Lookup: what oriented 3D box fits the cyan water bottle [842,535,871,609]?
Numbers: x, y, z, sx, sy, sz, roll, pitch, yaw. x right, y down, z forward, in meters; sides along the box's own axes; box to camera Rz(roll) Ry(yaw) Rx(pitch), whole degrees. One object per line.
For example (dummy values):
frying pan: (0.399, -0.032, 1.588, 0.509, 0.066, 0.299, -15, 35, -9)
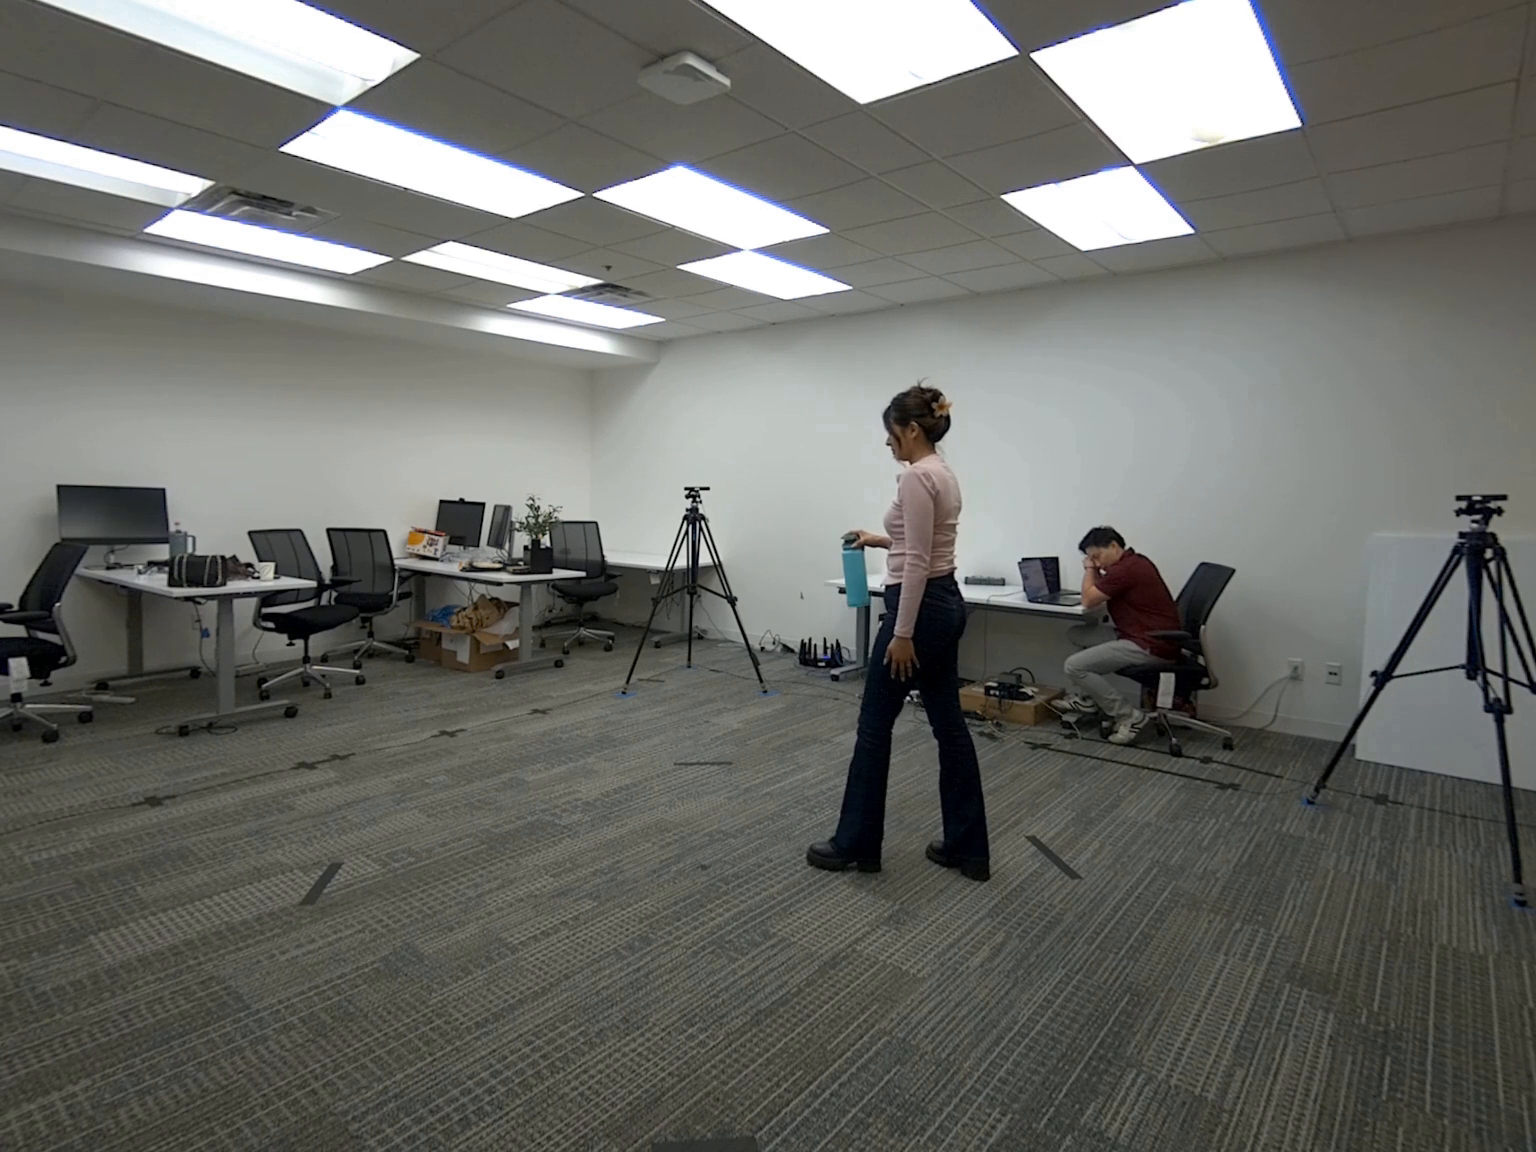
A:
cyan water bottle: (0.344, -0.026, 3.410, 0.092, 0.283, 0.092, -3, 1, -2)
